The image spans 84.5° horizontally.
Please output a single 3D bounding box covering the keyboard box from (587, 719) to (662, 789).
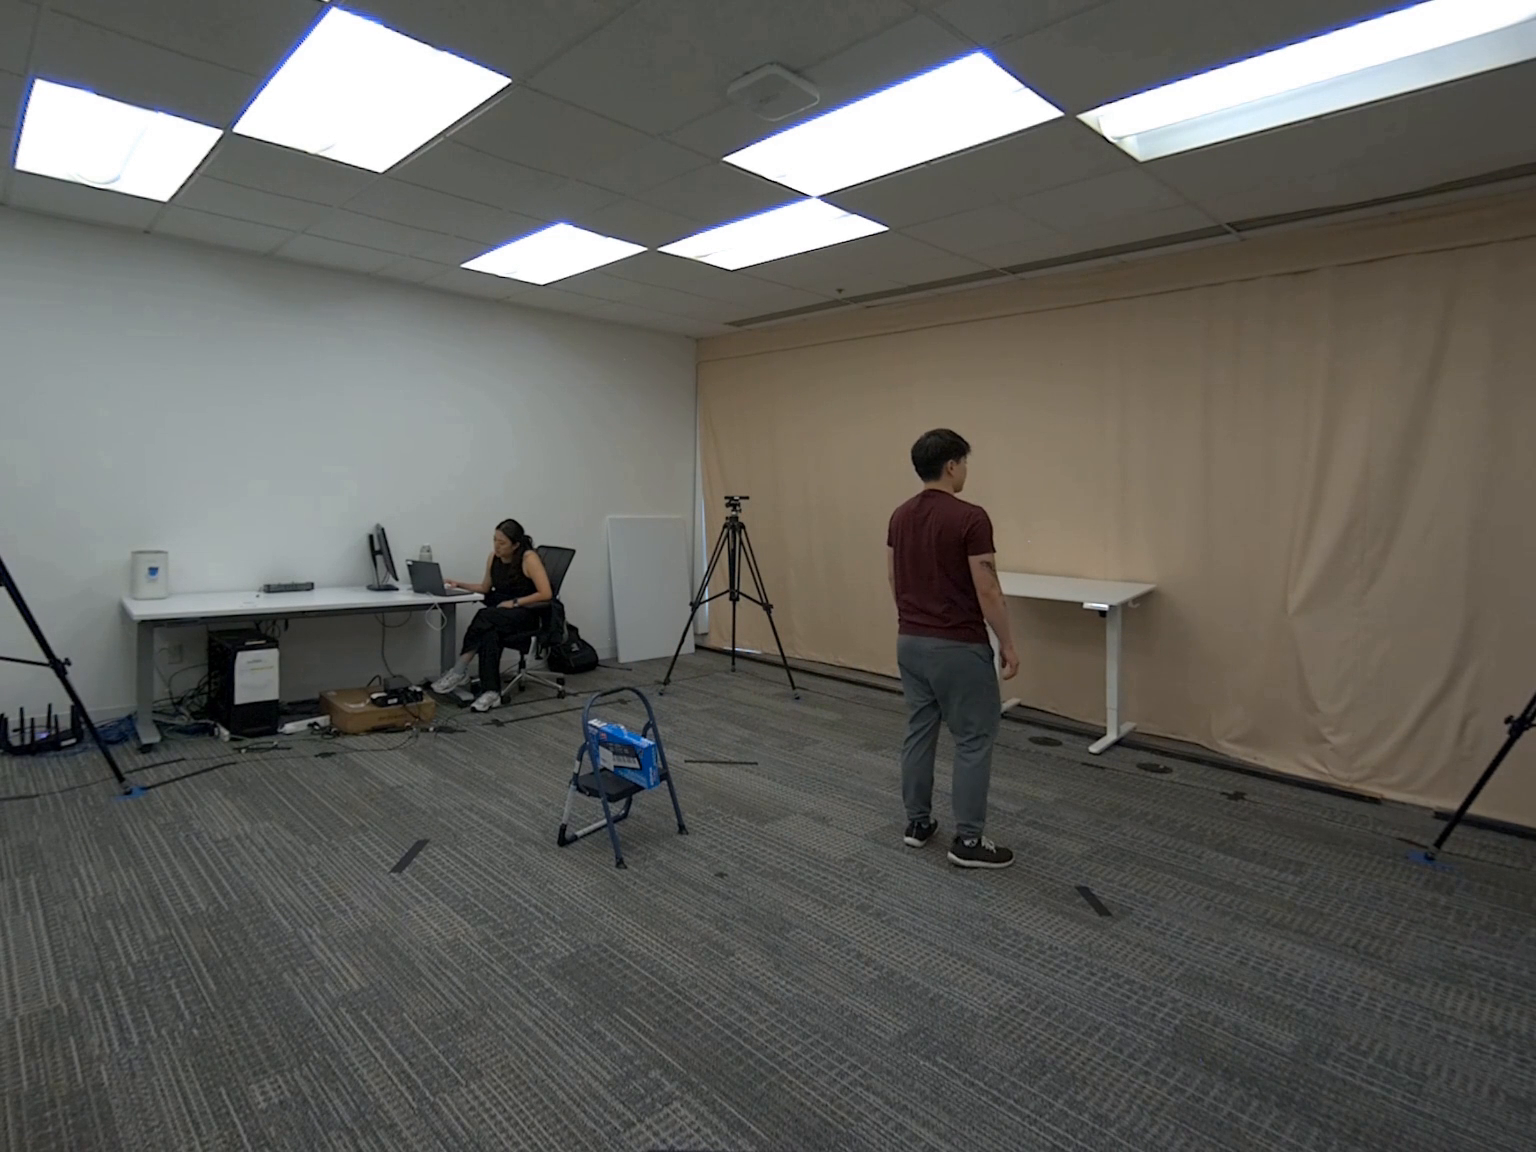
[{"bbox_3d":[-0.598,0.712,3.406,0.058,0.175,0.448,-12,13,-41],"label":"keyboard box"}]
